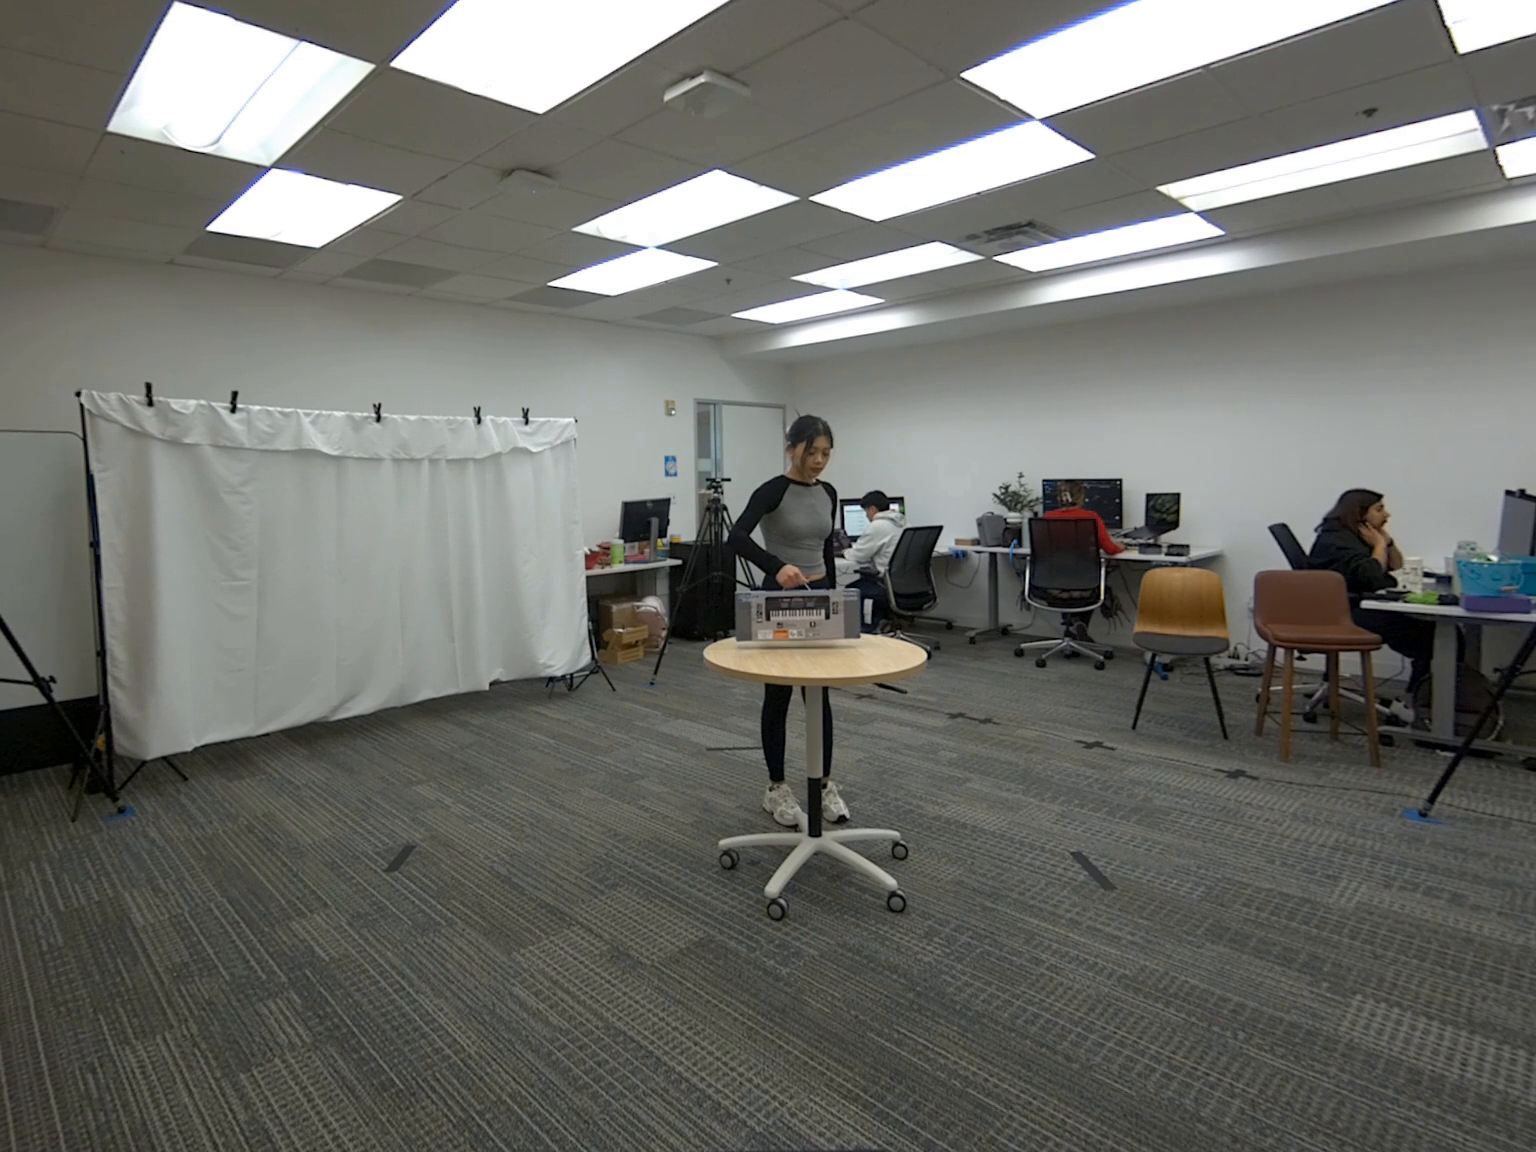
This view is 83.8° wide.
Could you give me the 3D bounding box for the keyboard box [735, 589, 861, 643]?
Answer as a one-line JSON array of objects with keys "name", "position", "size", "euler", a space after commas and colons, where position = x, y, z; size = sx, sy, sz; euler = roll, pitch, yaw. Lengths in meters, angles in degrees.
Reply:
[{"name": "keyboard box", "position": [0.105, 0.134, 3.024], "size": [0.436, 0.175, 0.059], "euler": [-2, 3, -1]}]
